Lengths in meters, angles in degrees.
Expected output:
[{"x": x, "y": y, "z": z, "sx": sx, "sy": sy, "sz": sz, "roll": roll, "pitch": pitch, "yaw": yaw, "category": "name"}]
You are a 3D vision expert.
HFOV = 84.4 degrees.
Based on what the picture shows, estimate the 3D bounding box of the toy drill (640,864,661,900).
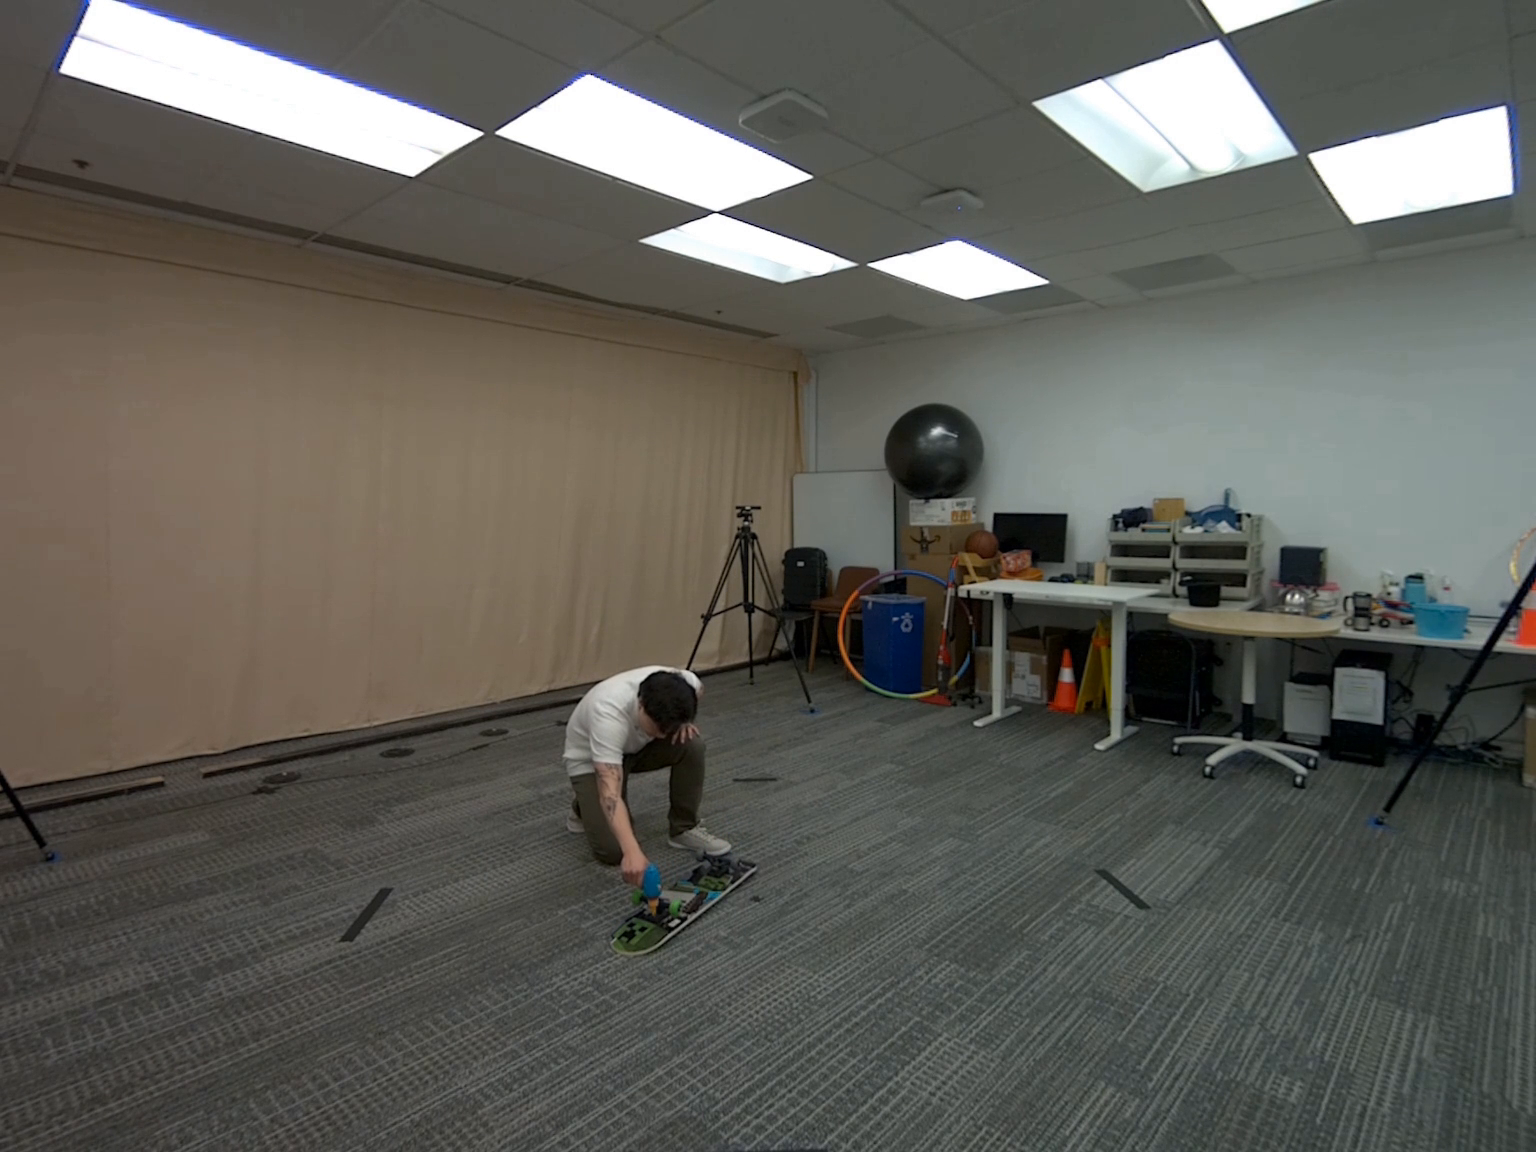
[{"x": -0.405, "y": 1.020, "z": 2.777, "sx": 0.150, "sy": 0.169, "sz": 0.059, "roll": -3, "pitch": 6, "yaw": 37, "category": "toy drill"}]
